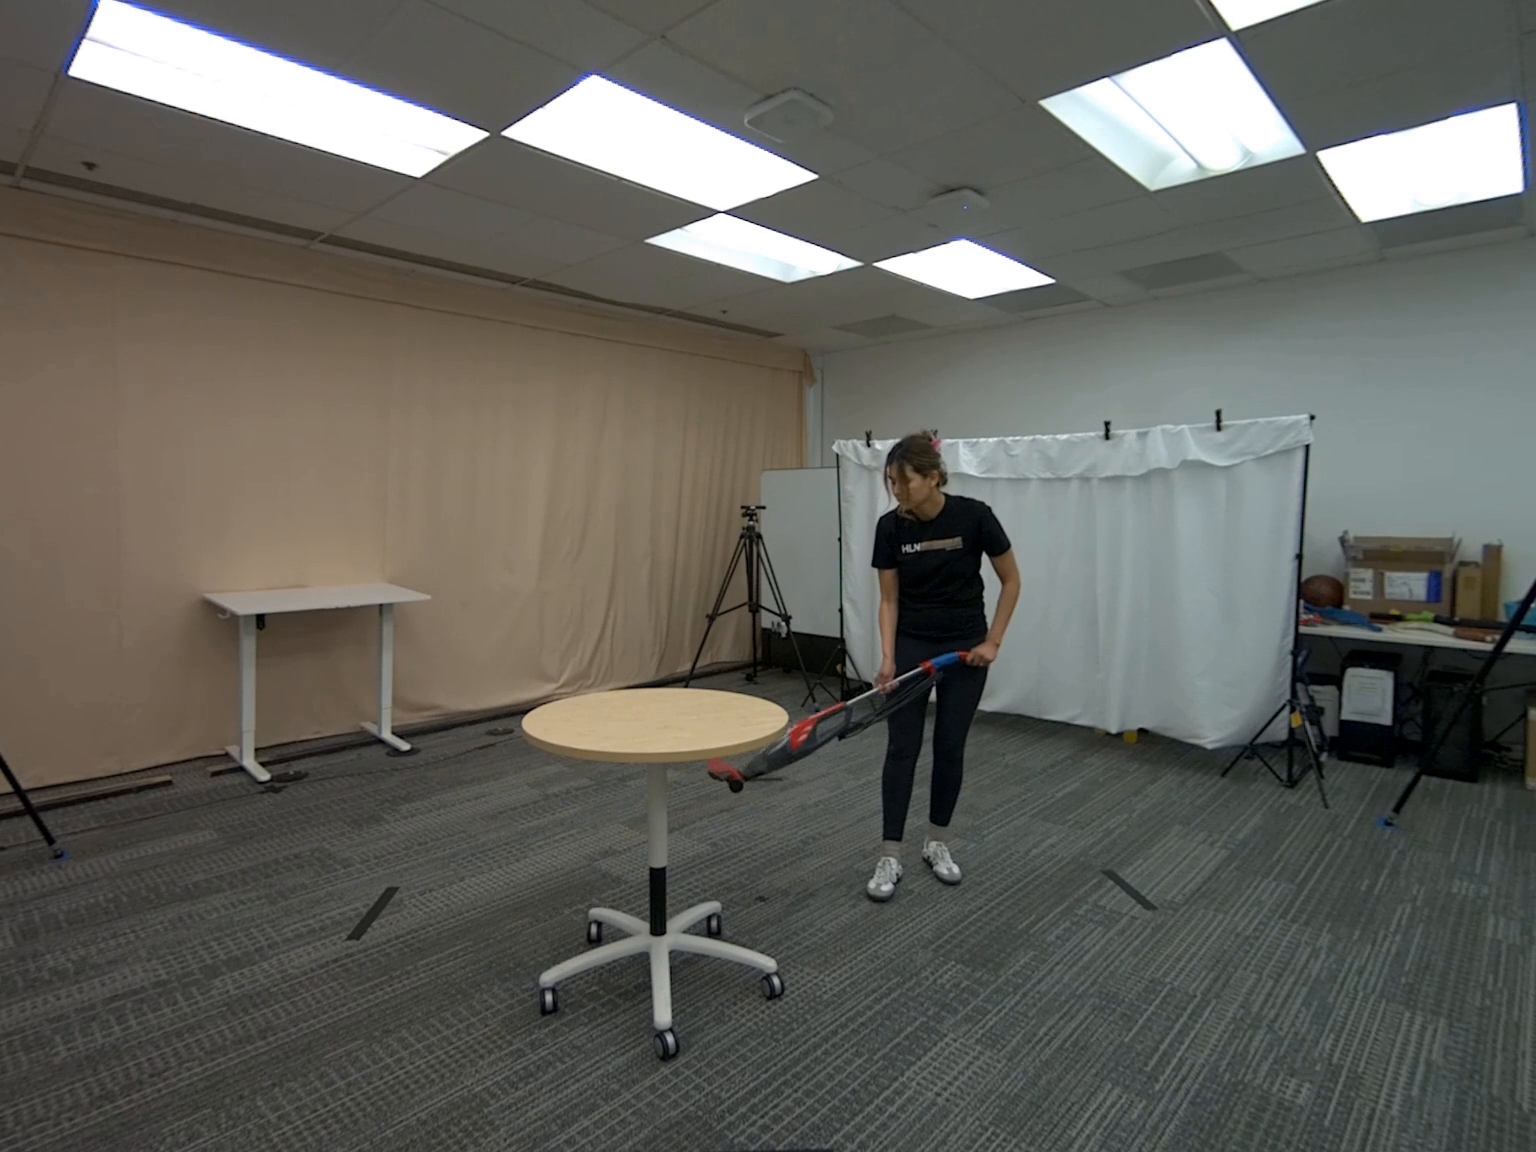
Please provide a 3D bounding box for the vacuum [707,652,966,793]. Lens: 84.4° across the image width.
[{"bbox_3d":[0.303,0.507,3.043,1.050,0.144,0.252,-26,0,1],"label":"vacuum"}]
